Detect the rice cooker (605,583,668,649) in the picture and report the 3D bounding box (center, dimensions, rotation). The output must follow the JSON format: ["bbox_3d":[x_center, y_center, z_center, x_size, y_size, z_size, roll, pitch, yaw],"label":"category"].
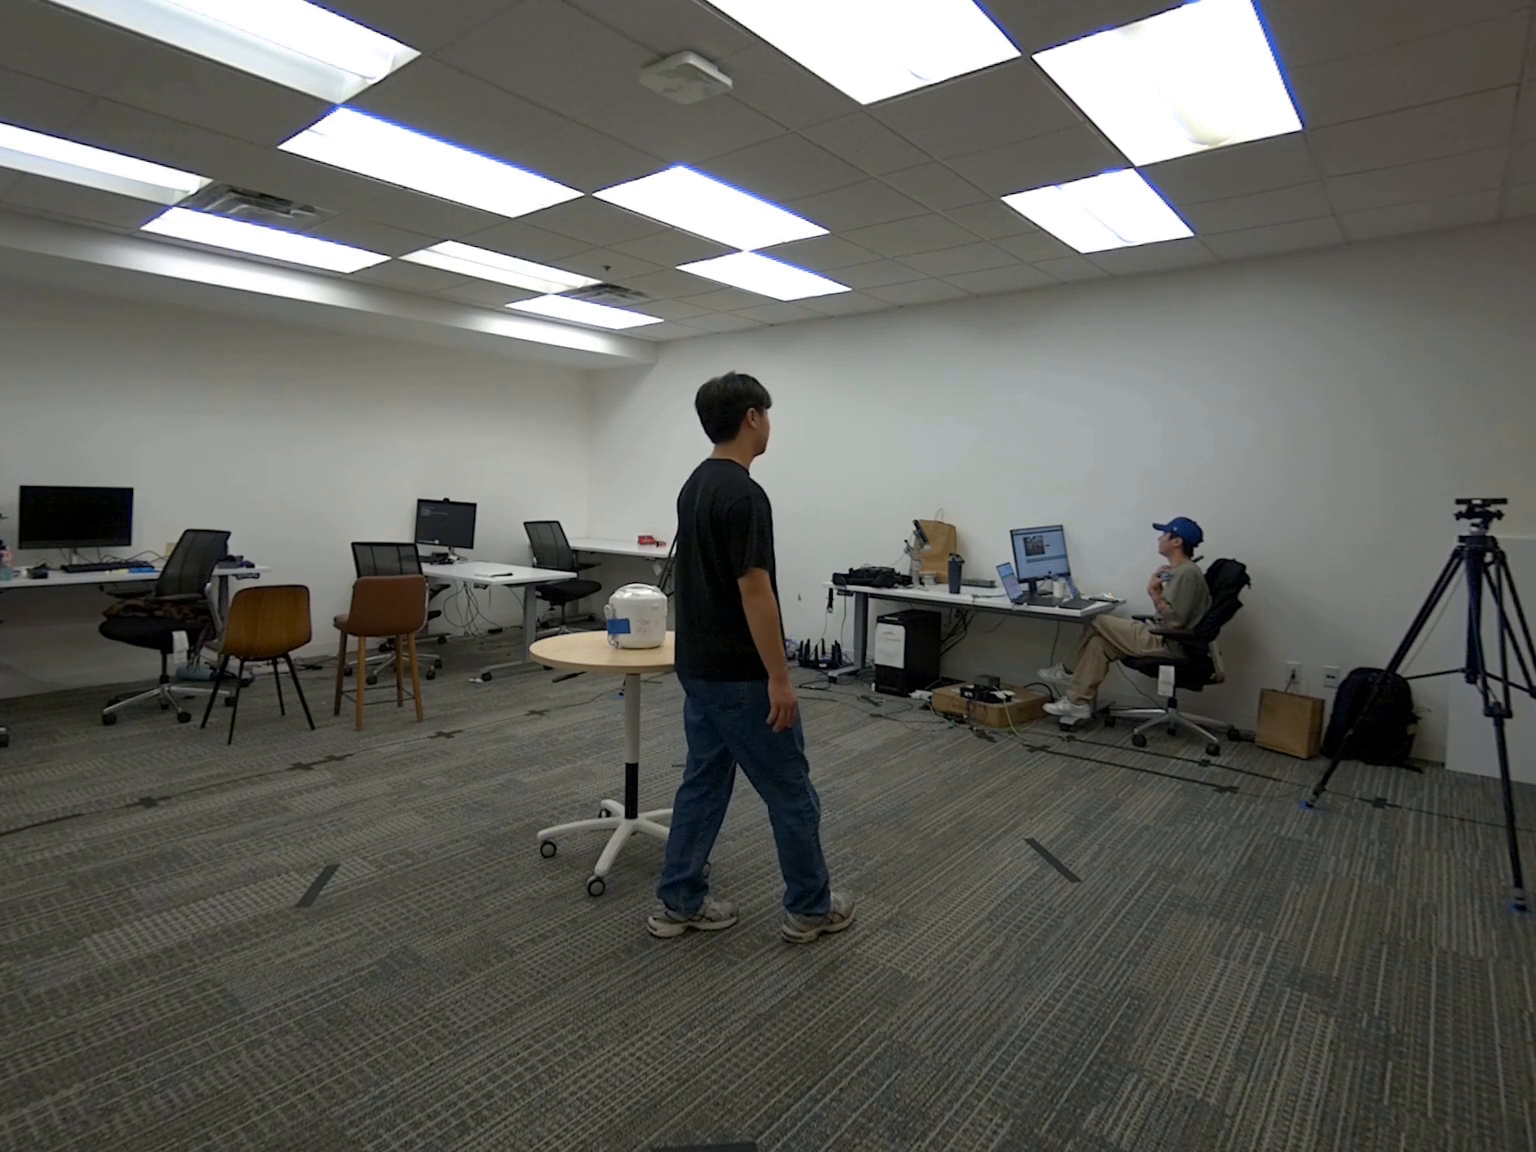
[{"bbox_3d":[-0.502,0.145,3.205,0.223,0.232,0.216,1,4,8],"label":"rice cooker"}]
